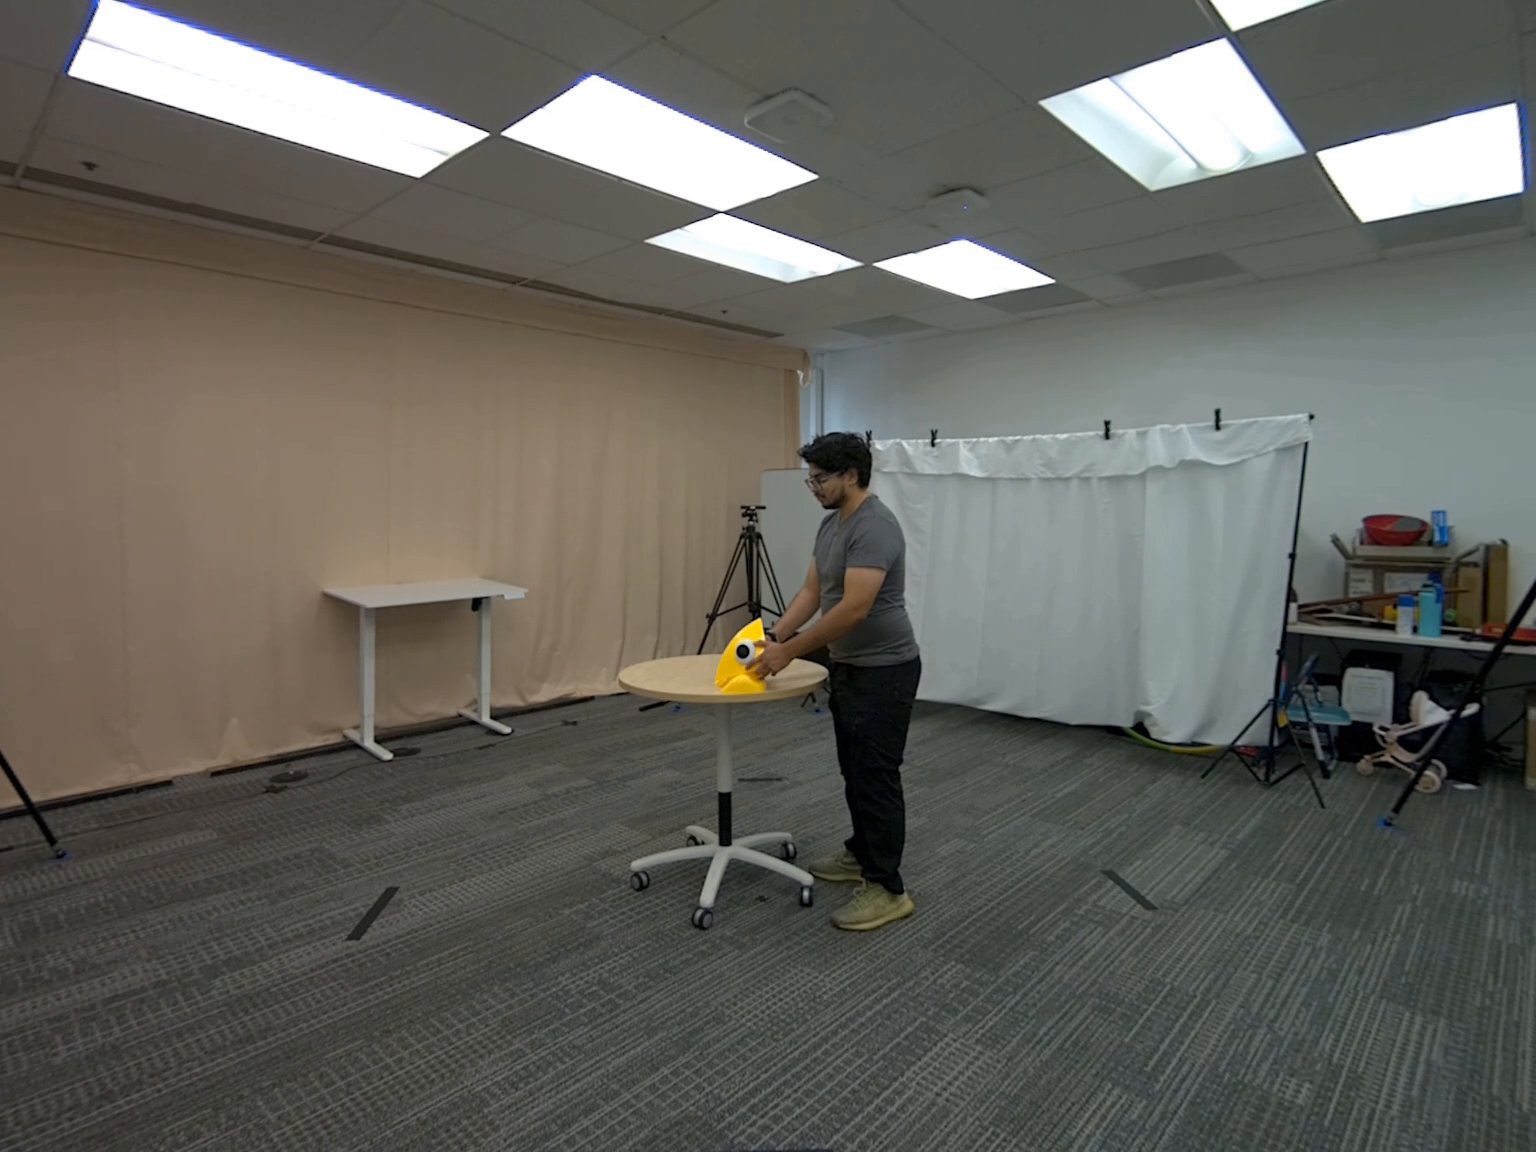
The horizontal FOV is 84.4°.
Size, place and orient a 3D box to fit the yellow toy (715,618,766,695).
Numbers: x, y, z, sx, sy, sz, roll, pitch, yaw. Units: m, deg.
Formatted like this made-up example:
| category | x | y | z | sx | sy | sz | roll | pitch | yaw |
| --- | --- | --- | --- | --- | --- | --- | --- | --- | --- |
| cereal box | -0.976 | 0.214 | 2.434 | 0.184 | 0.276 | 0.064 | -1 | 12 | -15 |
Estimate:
| category | x | y | z | sx | sy | sz | roll | pitch | yaw |
| --- | --- | --- | --- | --- | --- | --- | --- | --- | --- |
| yellow toy | -0.078 | 0.260 | 2.812 | 0.191 | 0.230 | 0.207 | -2 | 2 | -11 |
